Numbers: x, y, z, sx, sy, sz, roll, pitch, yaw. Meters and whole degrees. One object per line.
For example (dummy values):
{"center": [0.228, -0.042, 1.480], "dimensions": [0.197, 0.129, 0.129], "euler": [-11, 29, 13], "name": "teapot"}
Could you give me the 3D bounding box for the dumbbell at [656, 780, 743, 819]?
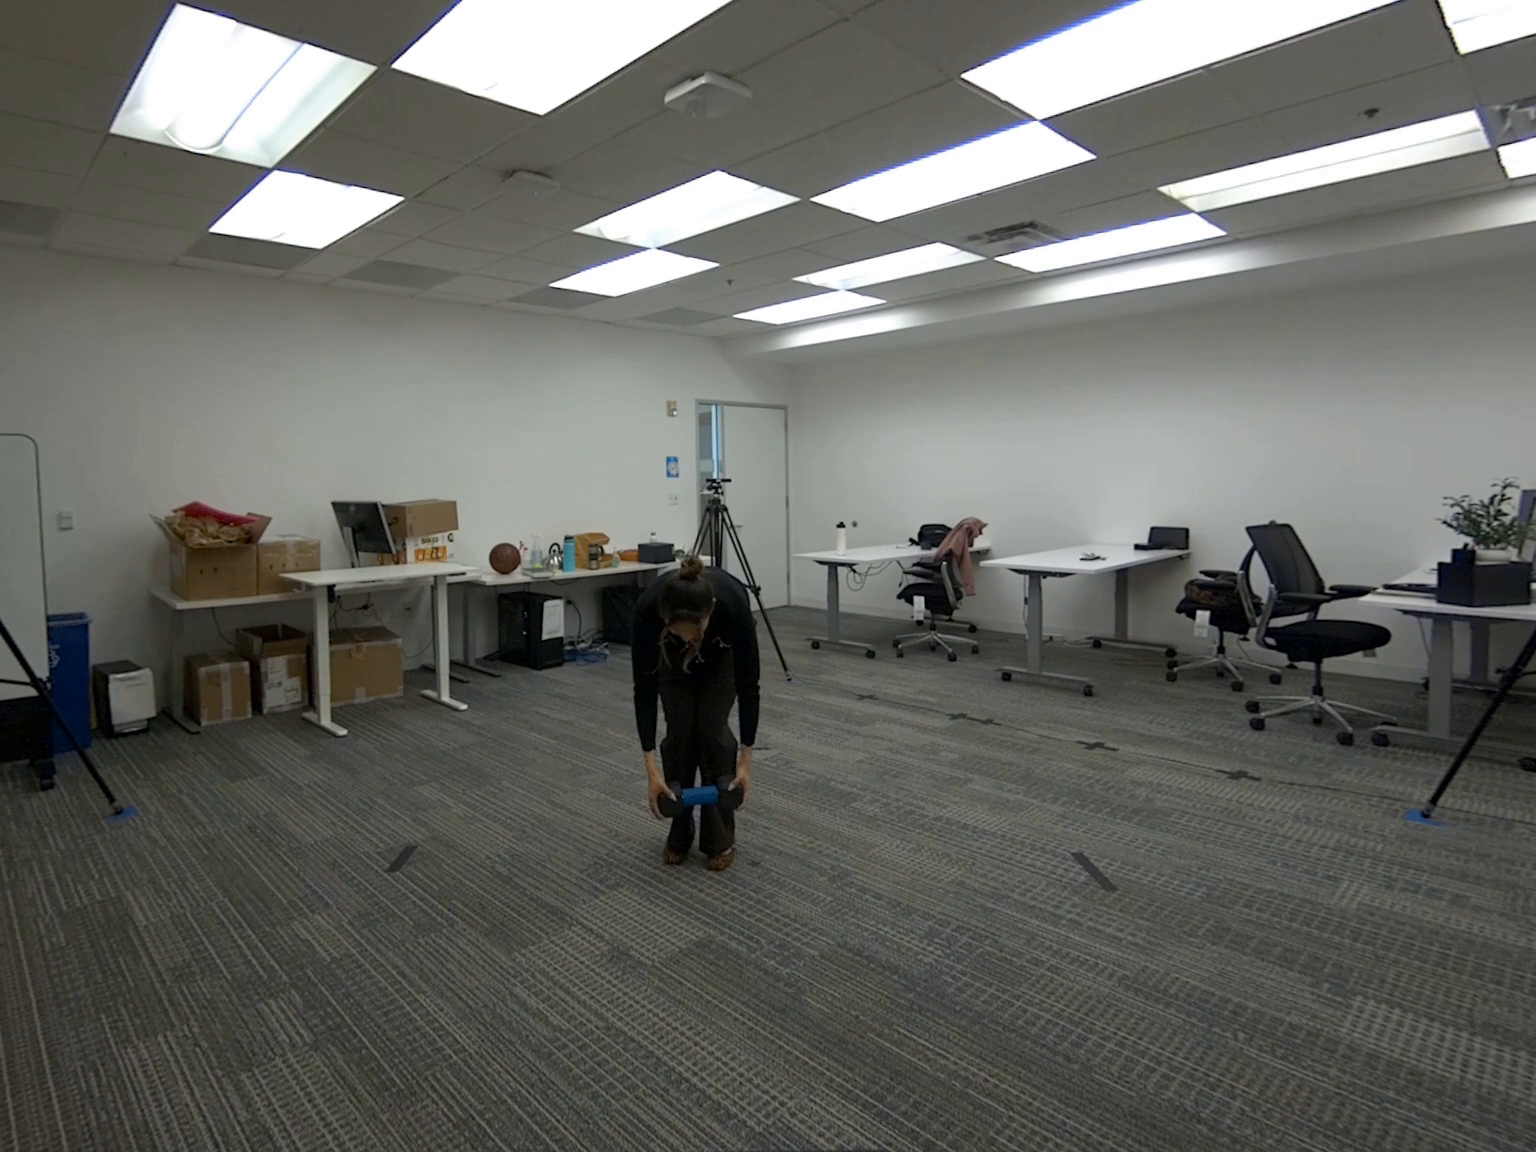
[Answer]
{"center": [-0.241, 0.764, 2.961], "dimensions": [0.290, 0.106, 0.127], "euler": [-4, 30, -12], "name": "dumbbell"}
